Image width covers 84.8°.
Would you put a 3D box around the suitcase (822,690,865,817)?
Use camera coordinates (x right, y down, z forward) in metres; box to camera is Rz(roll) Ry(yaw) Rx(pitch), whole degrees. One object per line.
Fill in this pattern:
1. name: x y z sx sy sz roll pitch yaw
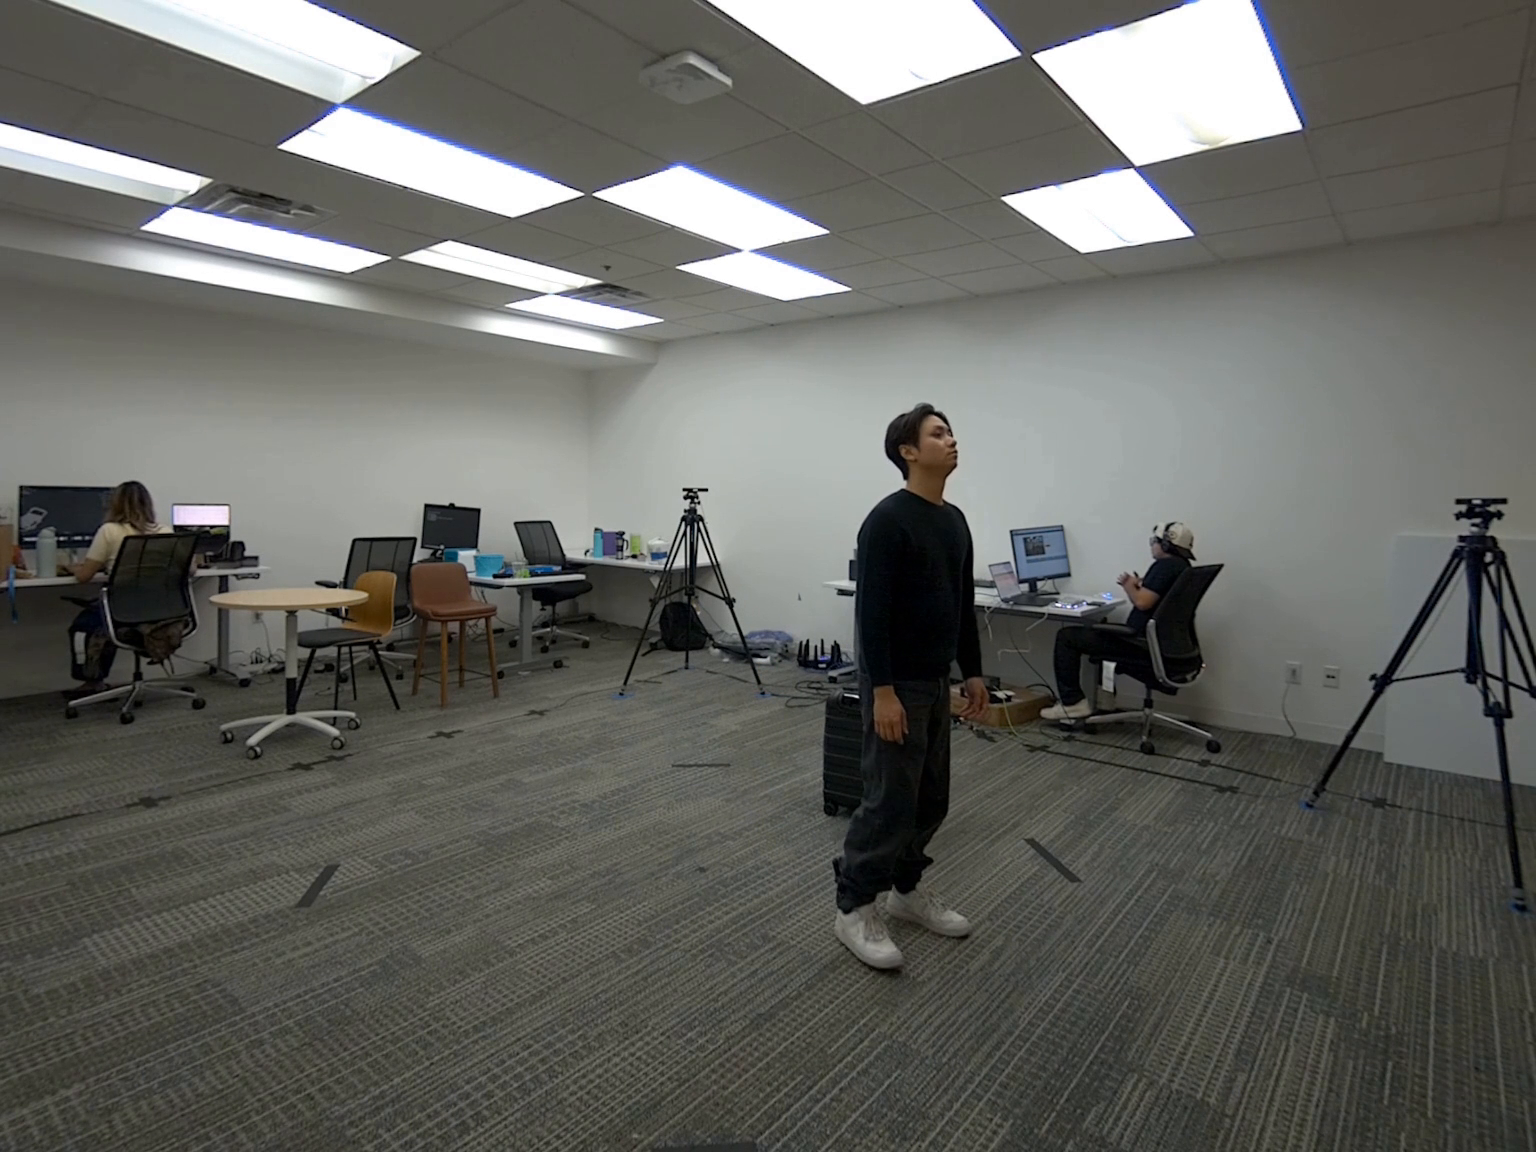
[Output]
1. suitcase: 0.424 0.755 3.697 0.386 0.549 0.242 2 1 27
